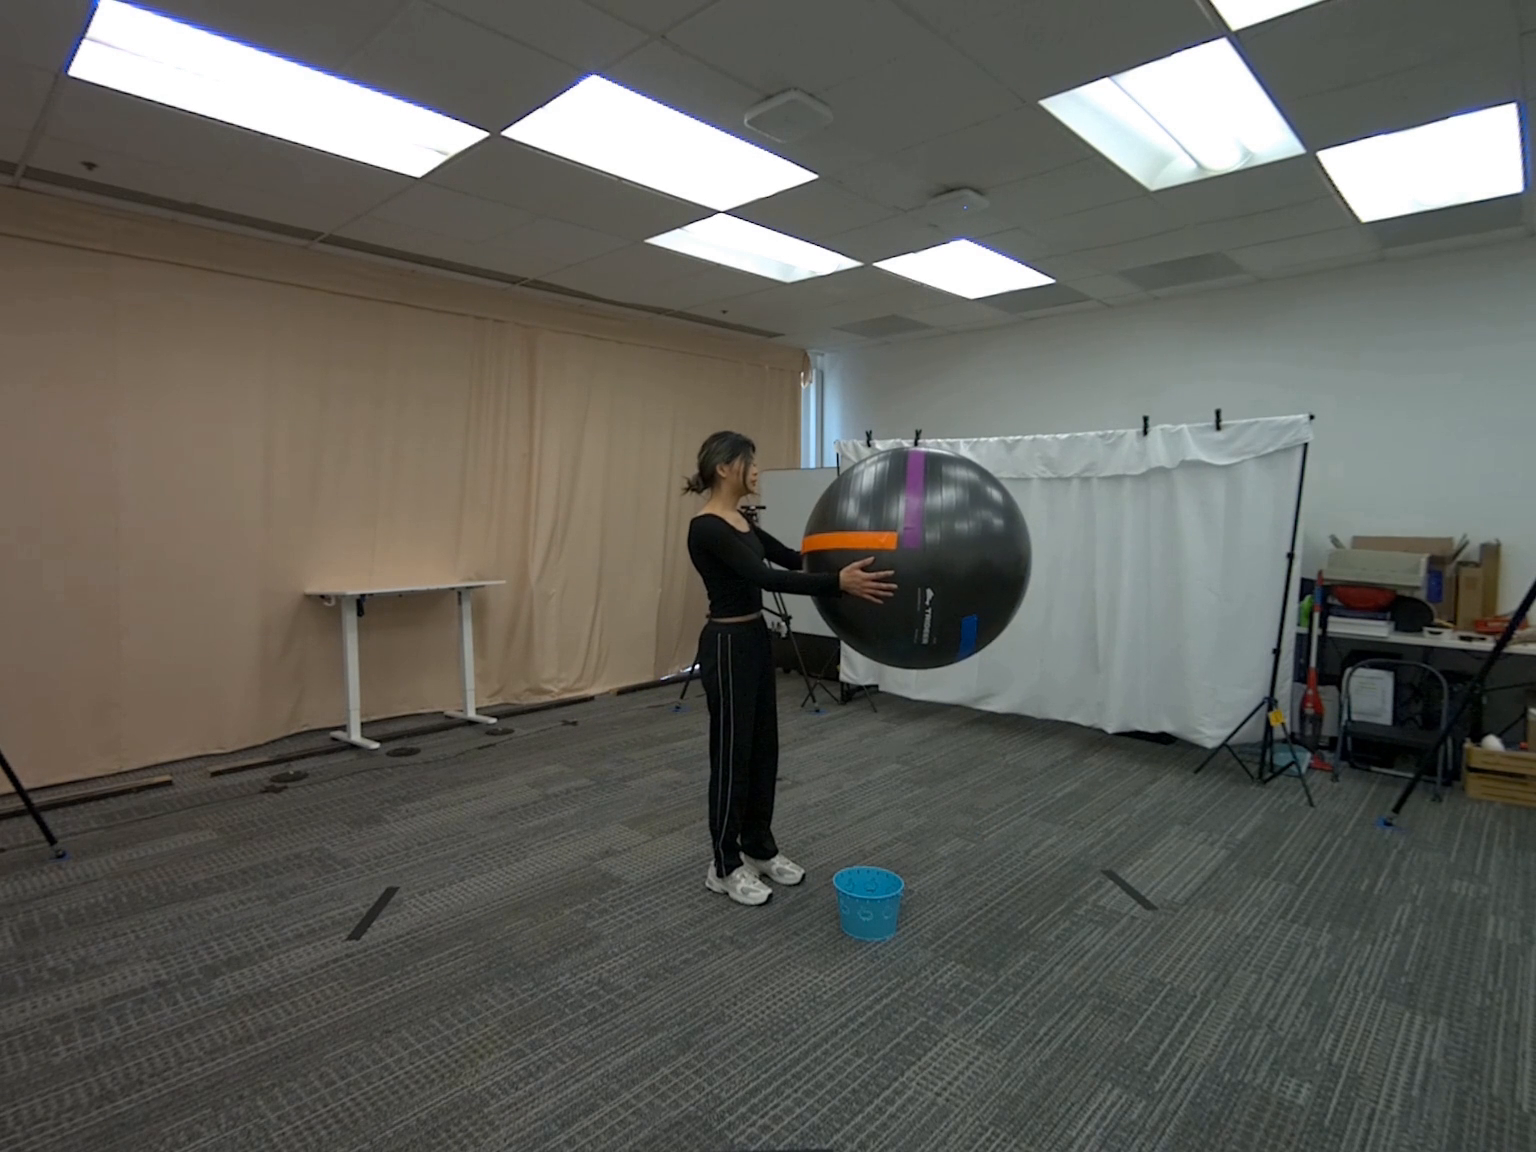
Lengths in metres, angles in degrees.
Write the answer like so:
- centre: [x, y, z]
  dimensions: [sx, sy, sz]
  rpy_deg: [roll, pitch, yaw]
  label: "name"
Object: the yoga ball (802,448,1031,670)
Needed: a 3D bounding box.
- centre: [0.513, -0.050, 2.875]
  dimensions: [0.757, 0.756, 0.760]
  rpy_deg: [0, 4, -2]
  label: "yoga ball"
